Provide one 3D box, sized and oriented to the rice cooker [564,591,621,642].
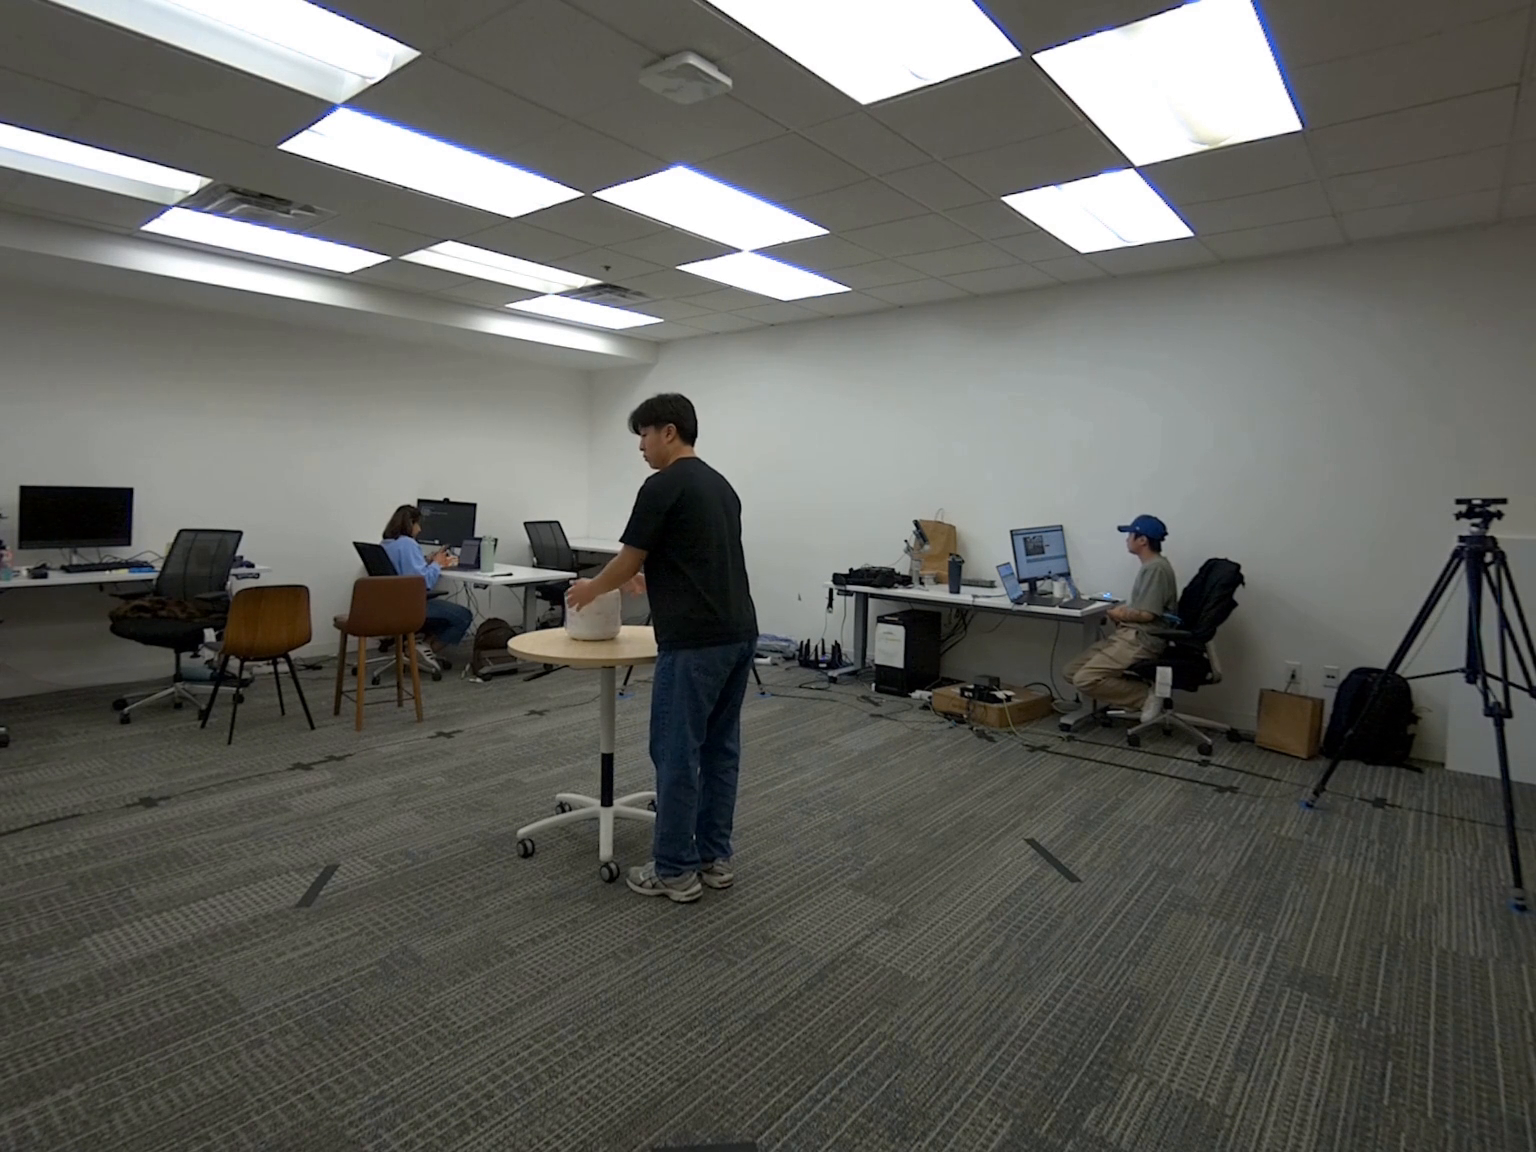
[{"bbox_3d":[-0.702,0.124,3.369,0.213,0.232,0.226,-1,5,-20],"label":"rice cooker"}]
